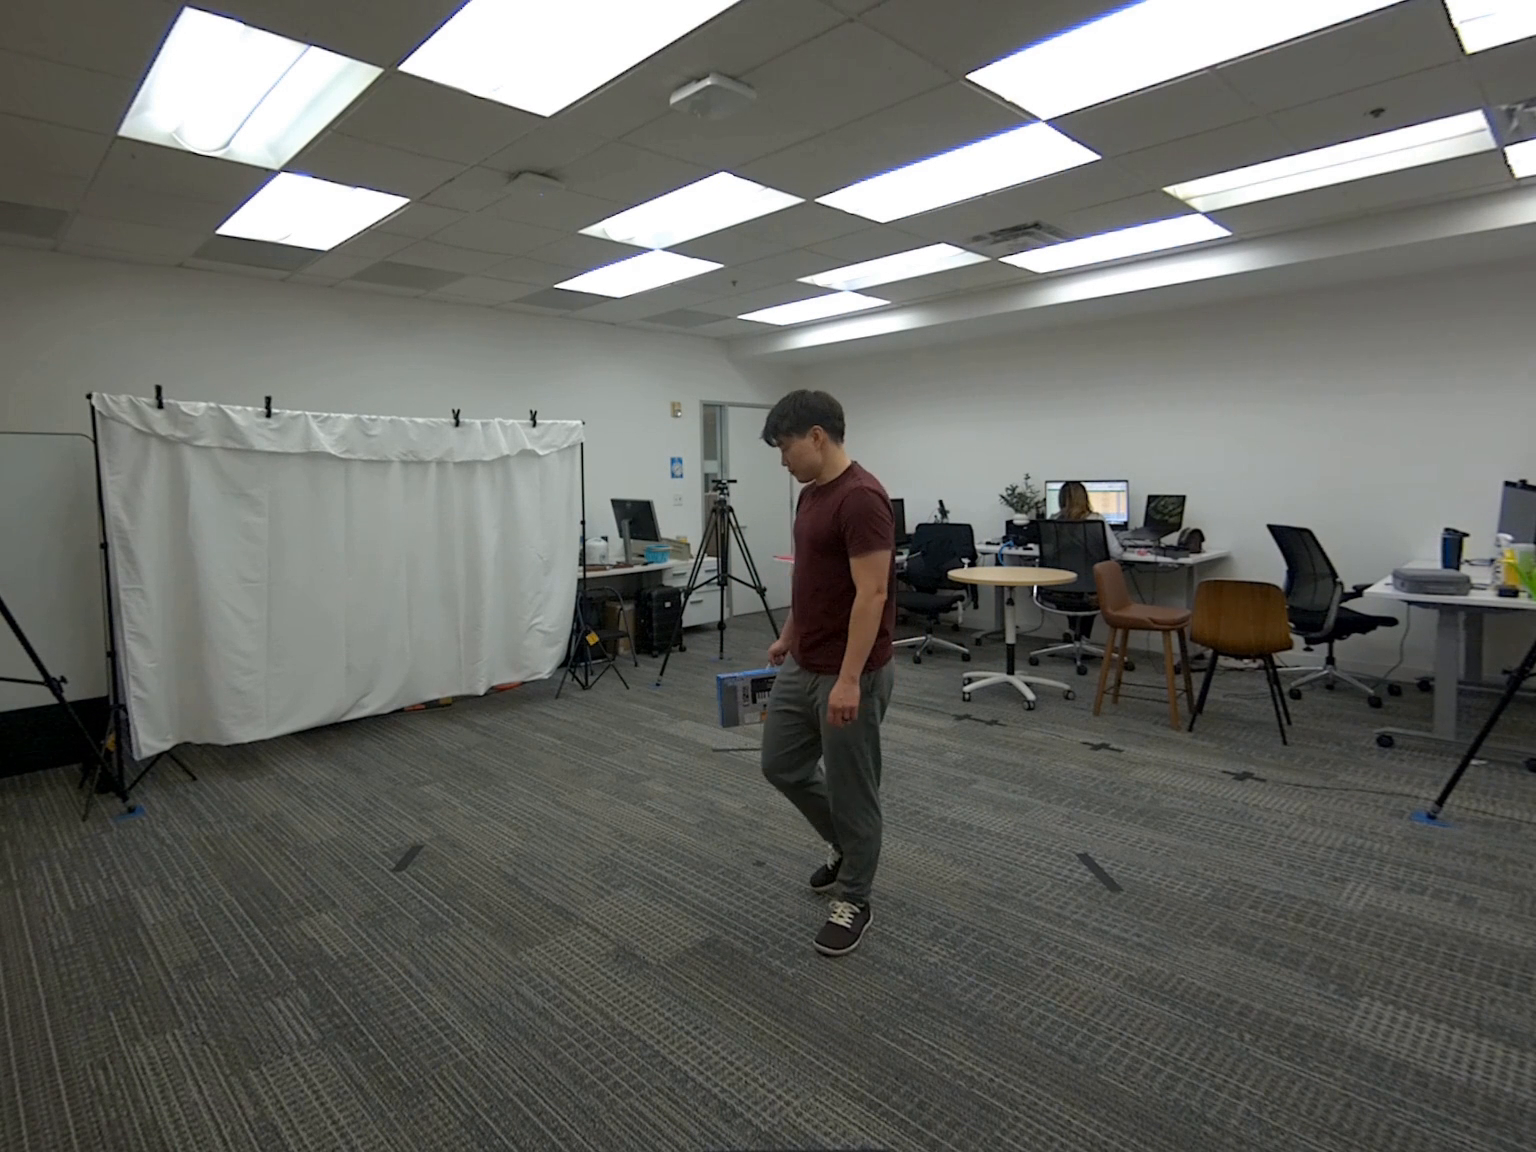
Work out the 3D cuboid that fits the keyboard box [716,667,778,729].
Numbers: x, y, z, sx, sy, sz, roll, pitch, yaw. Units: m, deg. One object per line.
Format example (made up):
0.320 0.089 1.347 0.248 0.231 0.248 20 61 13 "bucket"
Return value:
0.044 0.402 2.932 0.431 0.175 0.060 -5 3 -15 "keyboard box"
